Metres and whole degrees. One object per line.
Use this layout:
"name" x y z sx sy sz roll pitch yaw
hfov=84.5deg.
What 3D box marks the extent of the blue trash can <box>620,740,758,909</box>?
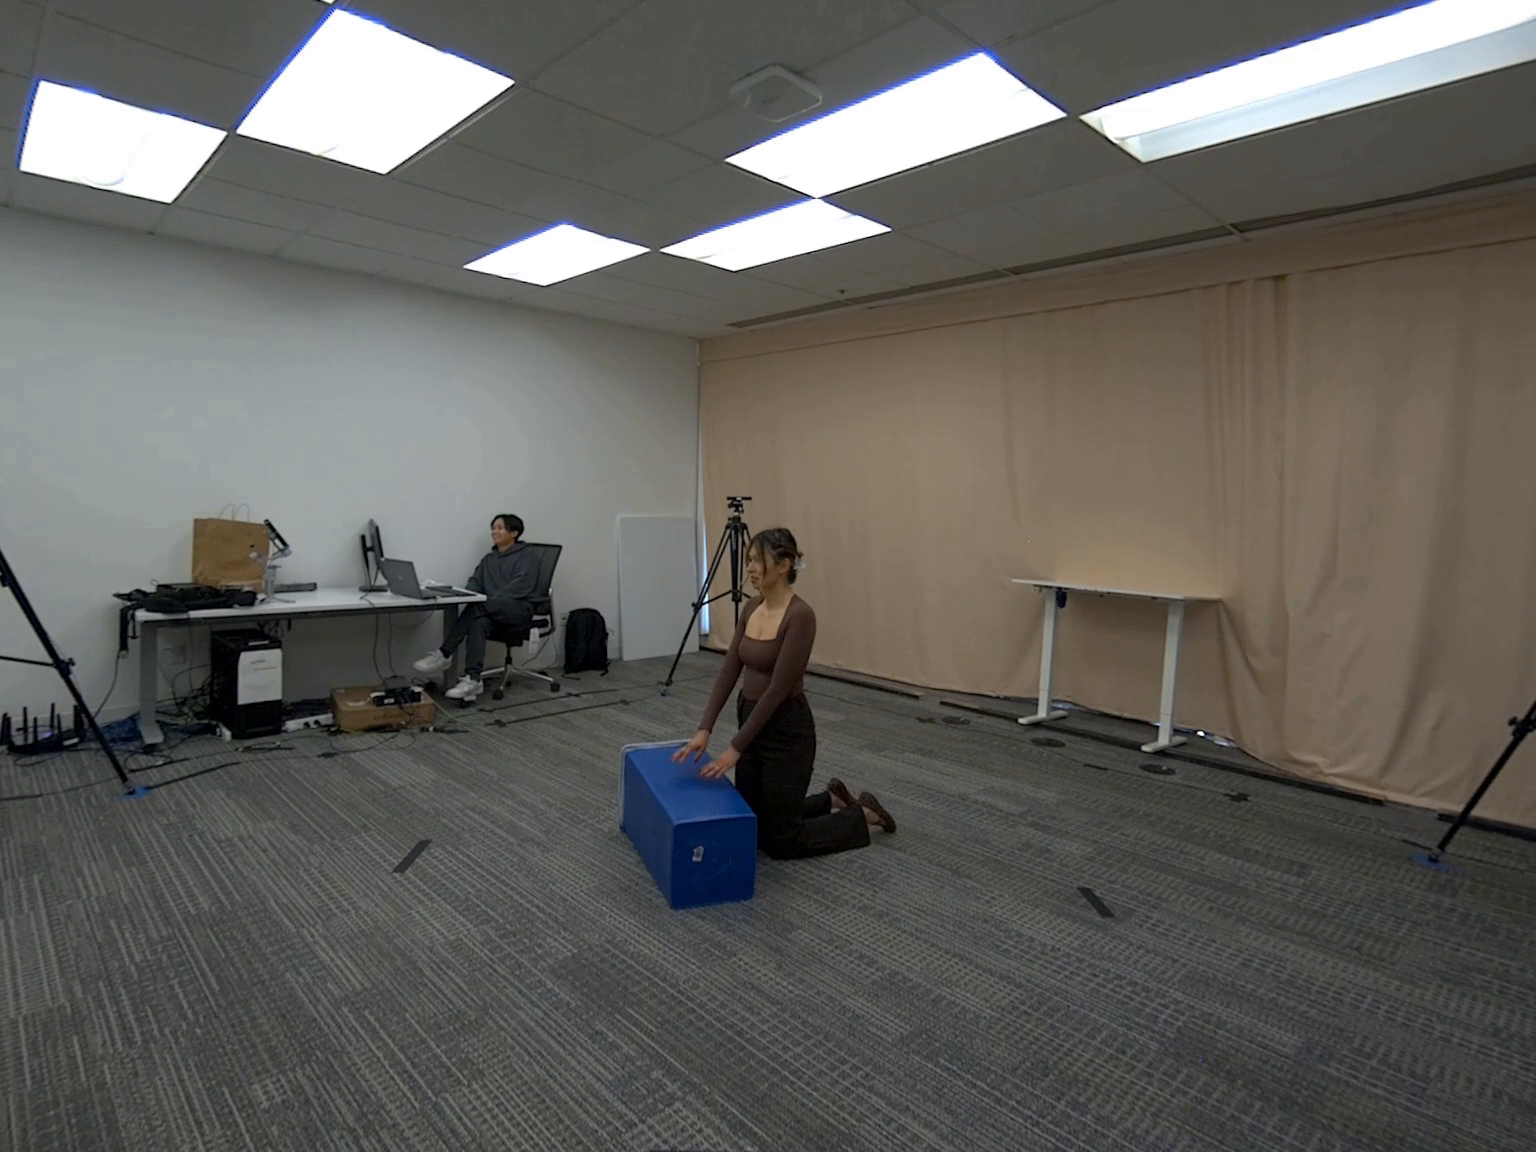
"blue trash can" -0.322 0.920 3.195 0.368 0.377 0.727 1 6 -20
